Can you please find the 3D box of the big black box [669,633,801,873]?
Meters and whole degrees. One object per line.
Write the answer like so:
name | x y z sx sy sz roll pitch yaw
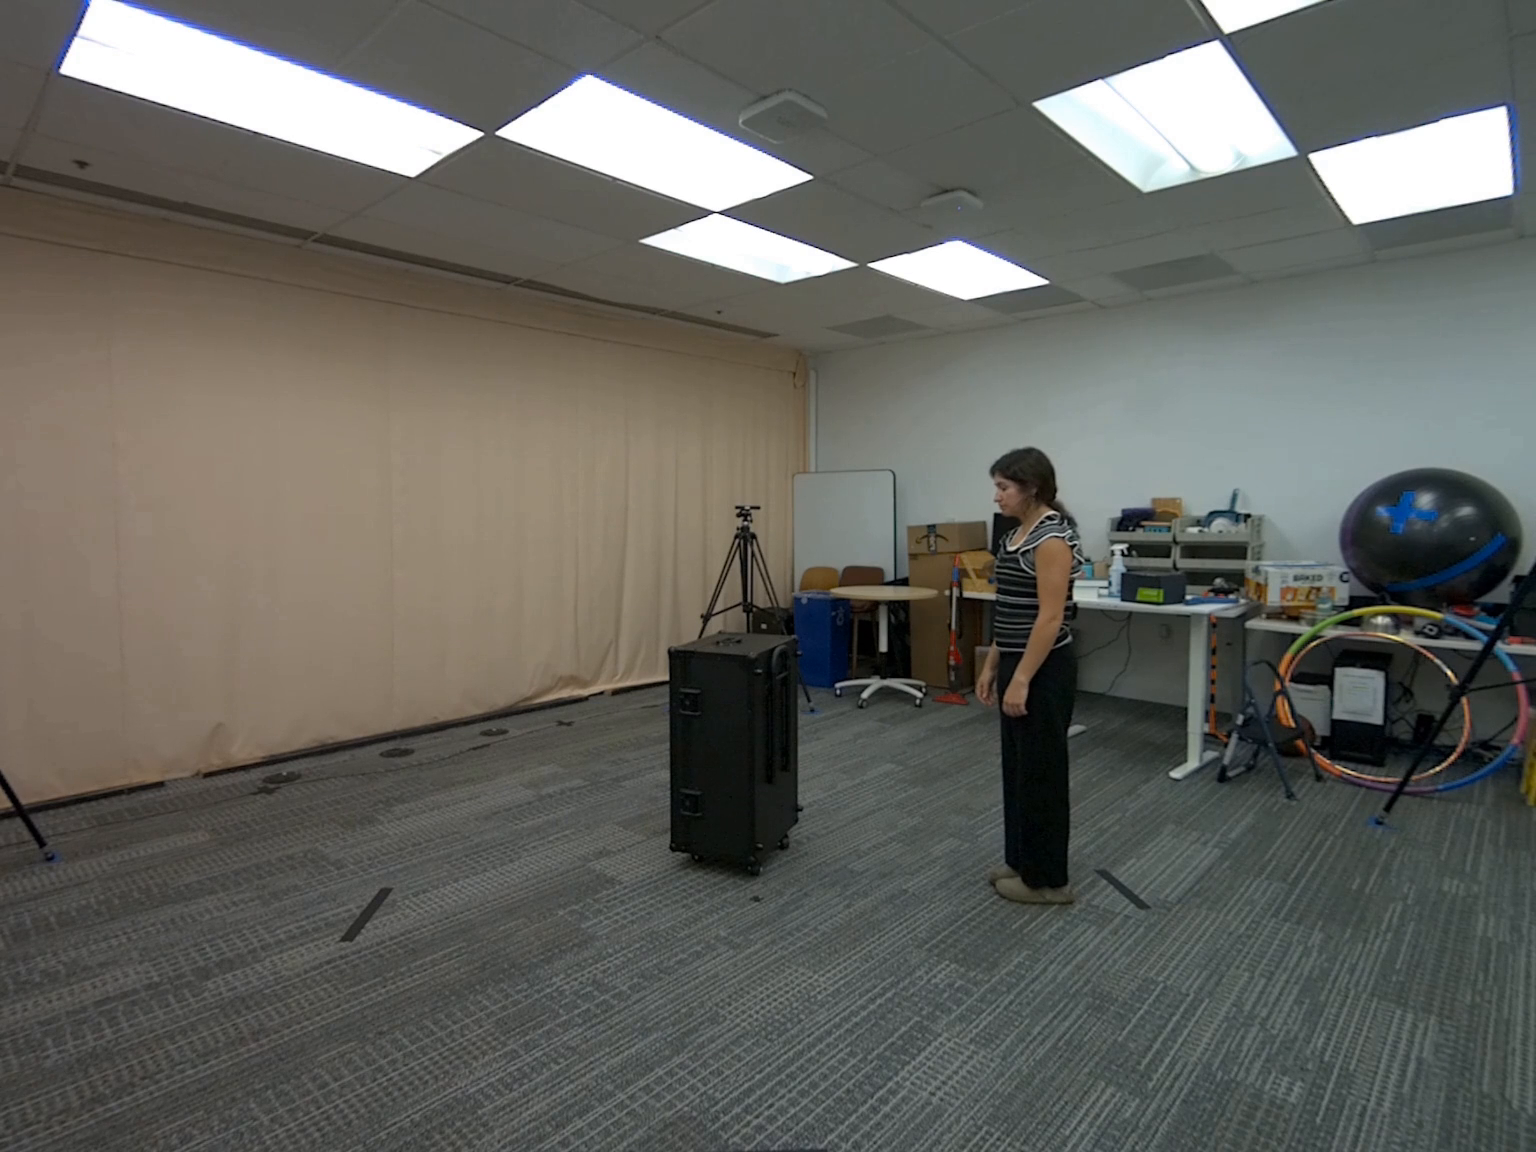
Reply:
big black box | -0.110 0.687 3.366 0.406 0.860 0.509 2 4 23
